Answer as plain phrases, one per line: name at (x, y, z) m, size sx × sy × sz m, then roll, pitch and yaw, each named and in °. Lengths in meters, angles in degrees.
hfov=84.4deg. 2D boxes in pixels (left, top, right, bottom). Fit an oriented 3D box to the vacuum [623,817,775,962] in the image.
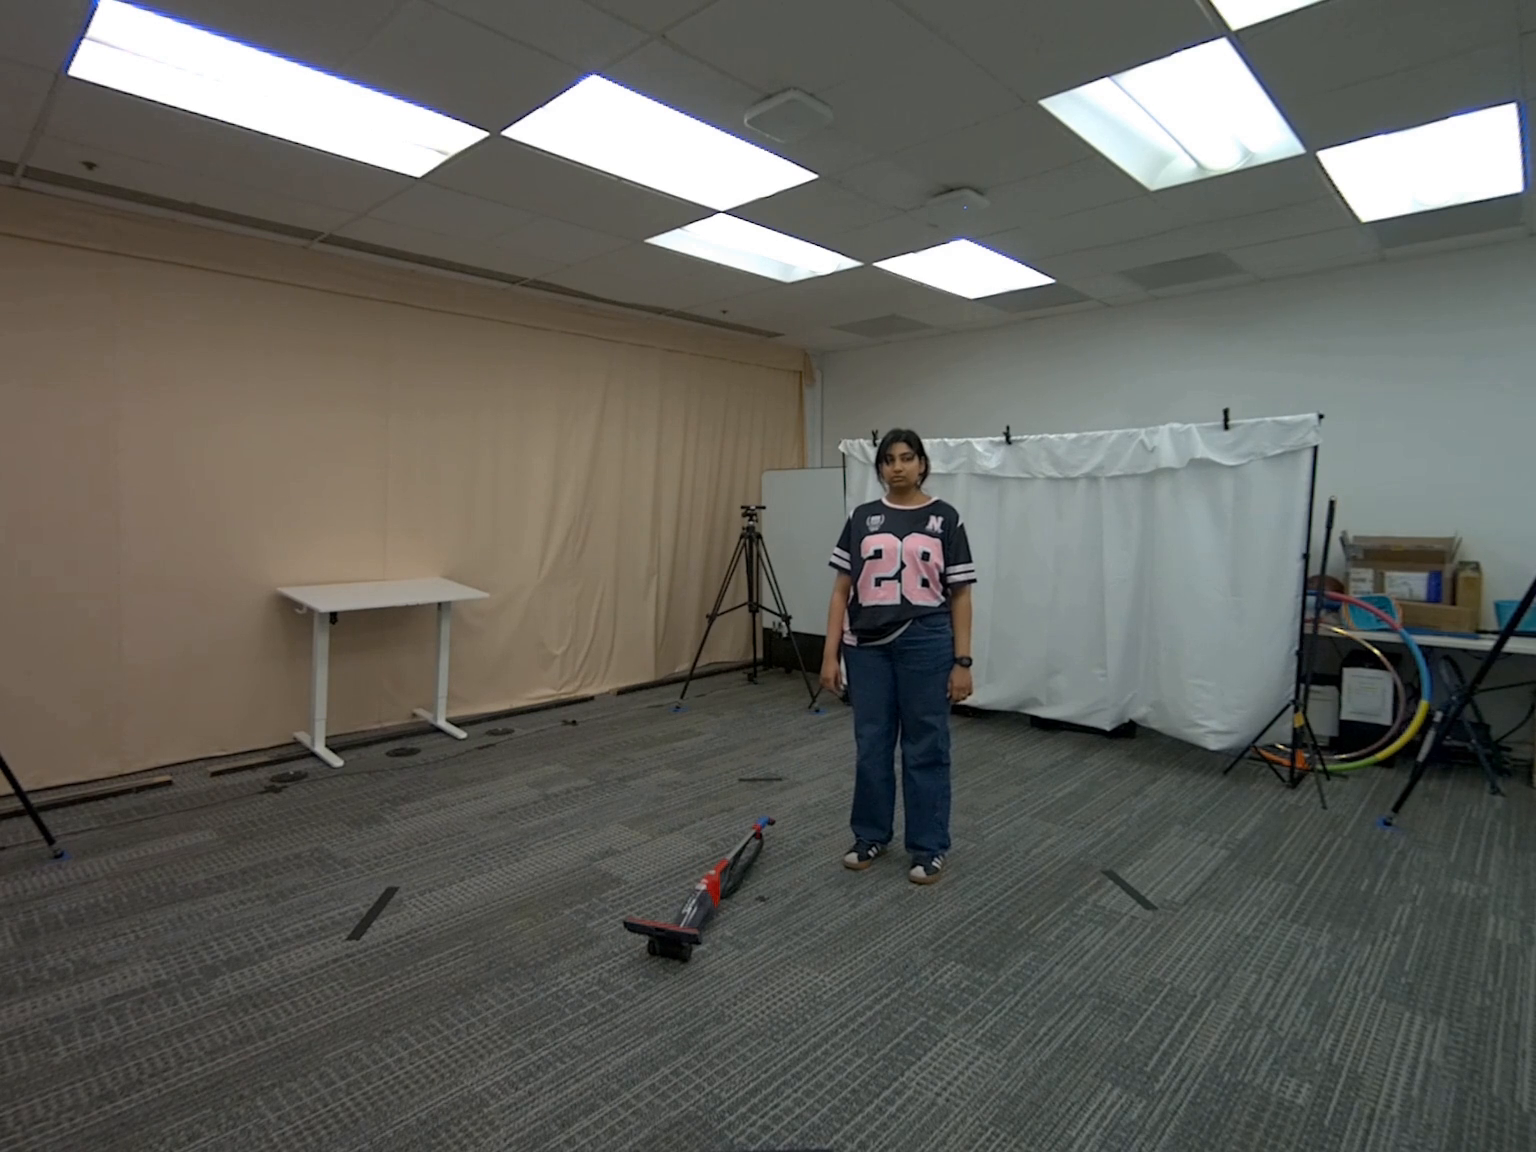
vacuum at (-0.145, 1.076, 3.042) m, size 0.258 × 0.144 × 1.029 m, roll 0°, pitch 4°, yaw 19°
